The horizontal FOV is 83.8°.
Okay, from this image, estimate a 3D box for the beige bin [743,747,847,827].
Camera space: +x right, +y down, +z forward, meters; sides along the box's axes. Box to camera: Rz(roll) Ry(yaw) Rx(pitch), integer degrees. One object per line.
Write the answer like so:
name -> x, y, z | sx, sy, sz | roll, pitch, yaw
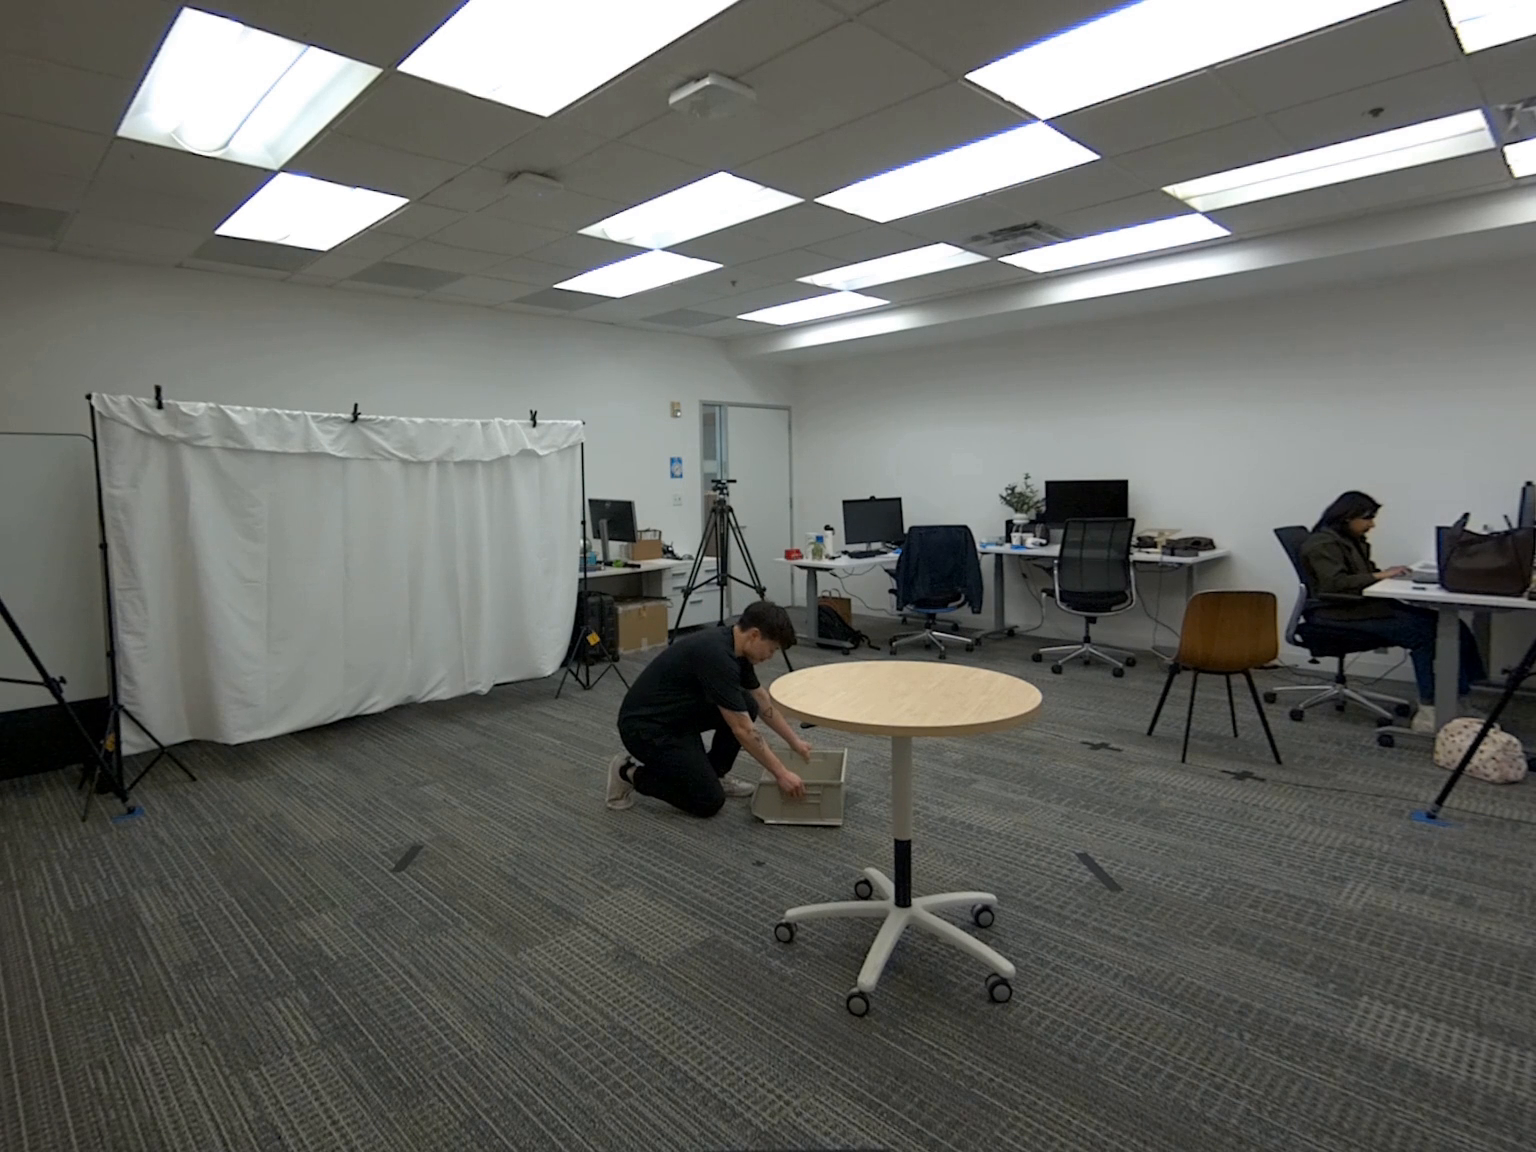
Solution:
beige bin -> 0.140, 0.884, 3.626 | 0.381, 0.188, 0.420 | -1, 5, 8
